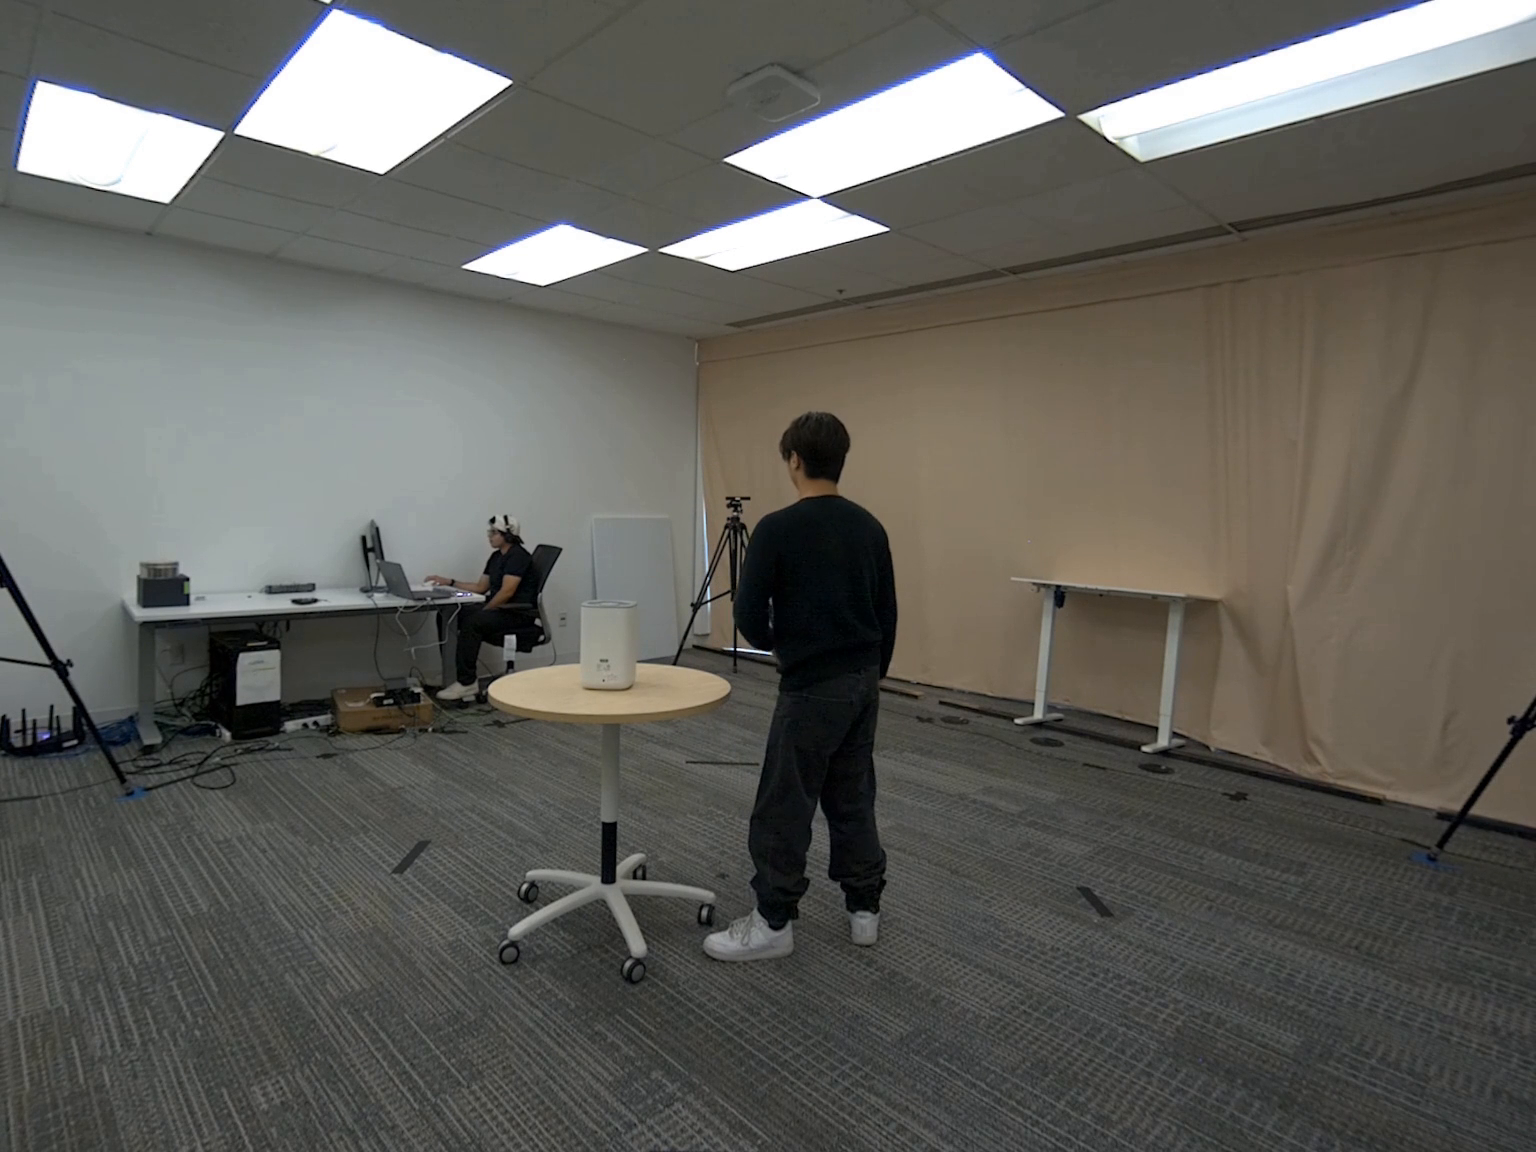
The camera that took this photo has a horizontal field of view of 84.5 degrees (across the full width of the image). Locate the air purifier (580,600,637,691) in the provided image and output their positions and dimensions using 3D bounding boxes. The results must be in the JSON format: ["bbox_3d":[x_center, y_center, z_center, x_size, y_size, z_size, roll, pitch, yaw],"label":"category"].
[{"bbox_3d":[-0.510,0.212,2.686,0.172,0.265,0.171,1,3,6],"label":"air purifier"}]
